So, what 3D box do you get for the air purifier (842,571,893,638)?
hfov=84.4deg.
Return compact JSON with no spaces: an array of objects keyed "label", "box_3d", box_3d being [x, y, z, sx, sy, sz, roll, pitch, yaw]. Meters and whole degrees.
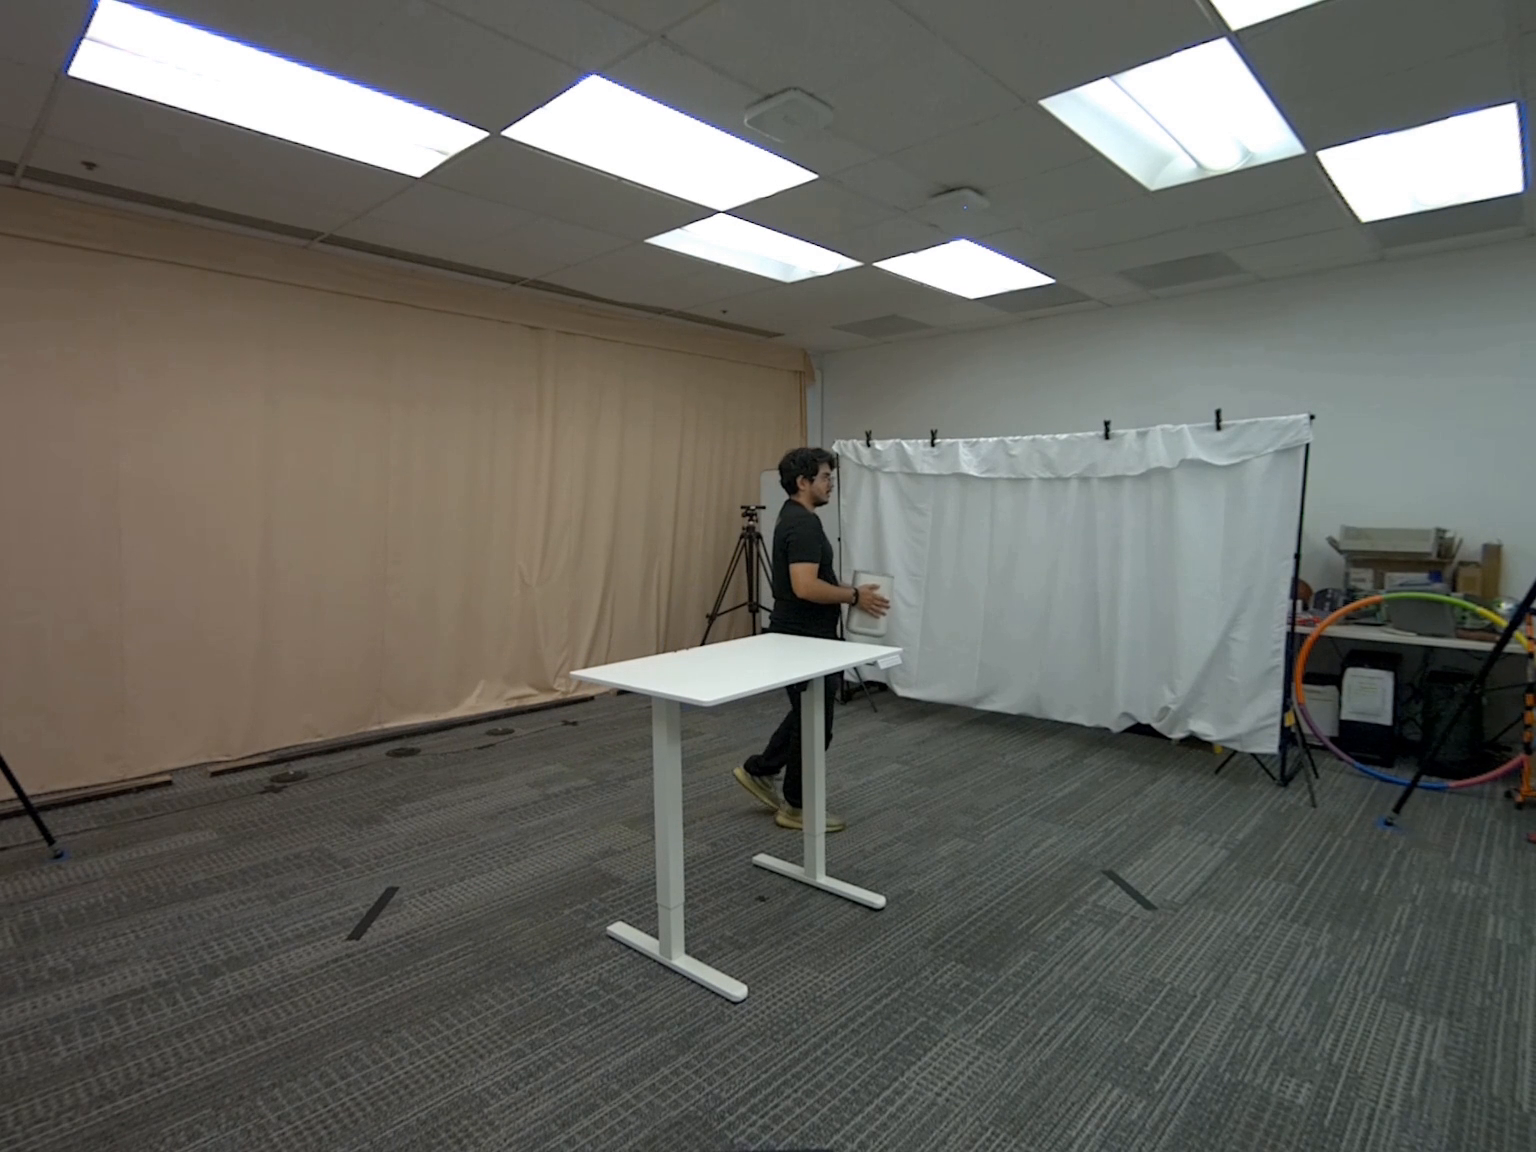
[{"label":"air purifier","box_3d":[0.430,0.117,3.568,0.172,0.265,0.171,8,4,2]}]
